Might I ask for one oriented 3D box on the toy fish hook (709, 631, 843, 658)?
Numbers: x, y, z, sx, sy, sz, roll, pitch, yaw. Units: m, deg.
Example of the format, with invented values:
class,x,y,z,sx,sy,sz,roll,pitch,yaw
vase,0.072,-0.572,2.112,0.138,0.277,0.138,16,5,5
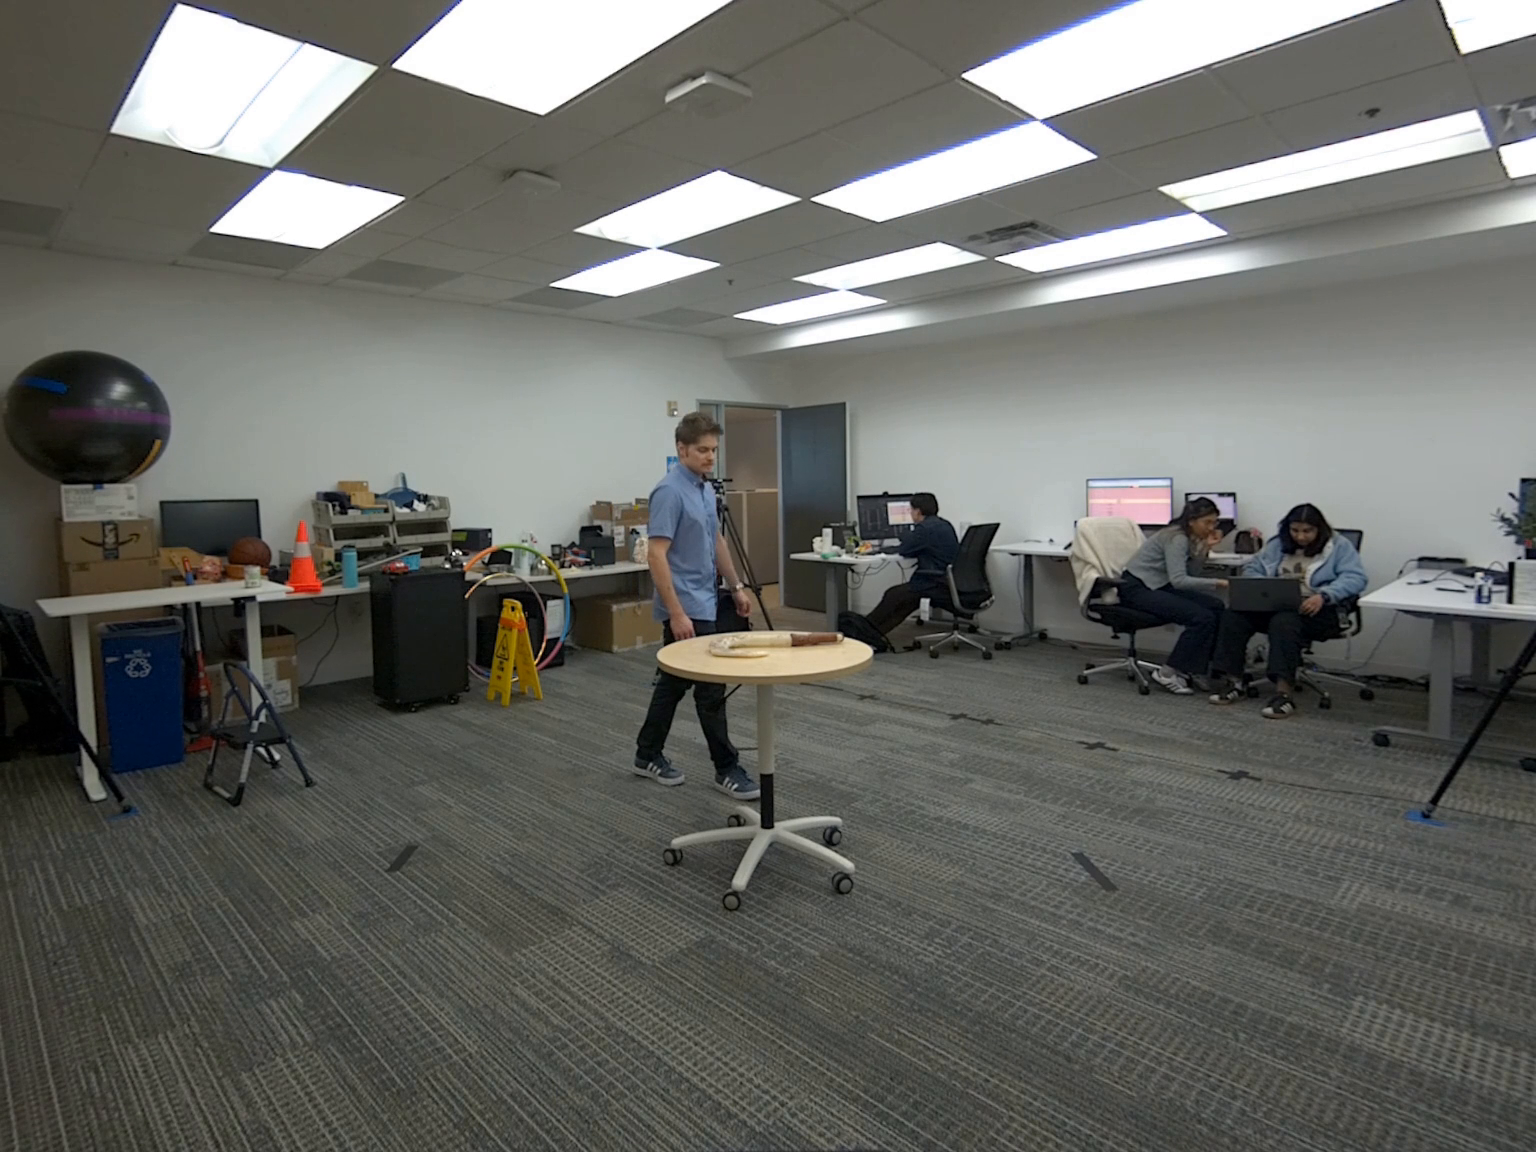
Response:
class,x,y,z,sx,sy,sz,roll,pitch,yaw
toy fish hook,0.043,0.250,3.064,0.502,0.048,0.228,-3,12,-9
